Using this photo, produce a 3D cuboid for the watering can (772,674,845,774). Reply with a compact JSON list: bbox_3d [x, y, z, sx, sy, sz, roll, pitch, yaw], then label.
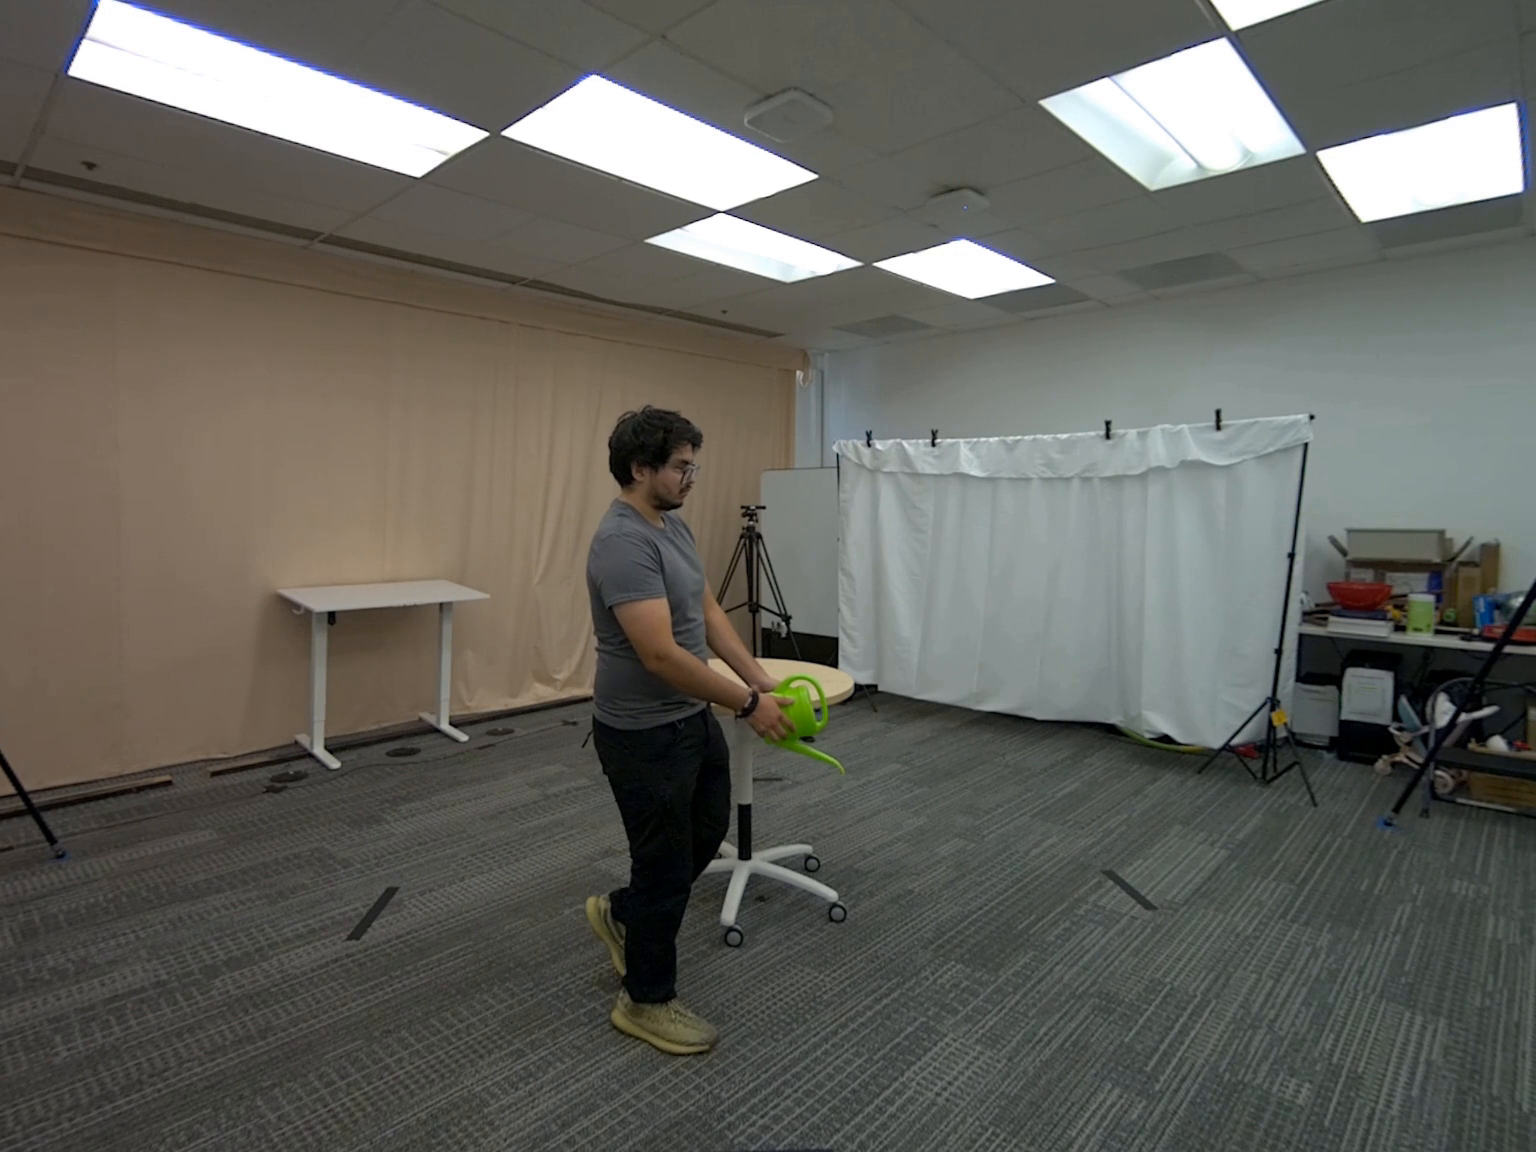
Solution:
[{"bbox_3d":[0.084,0.395,2.146,0.177,0.281,0.097,-14,-10,3],"label":"watering can"}]
